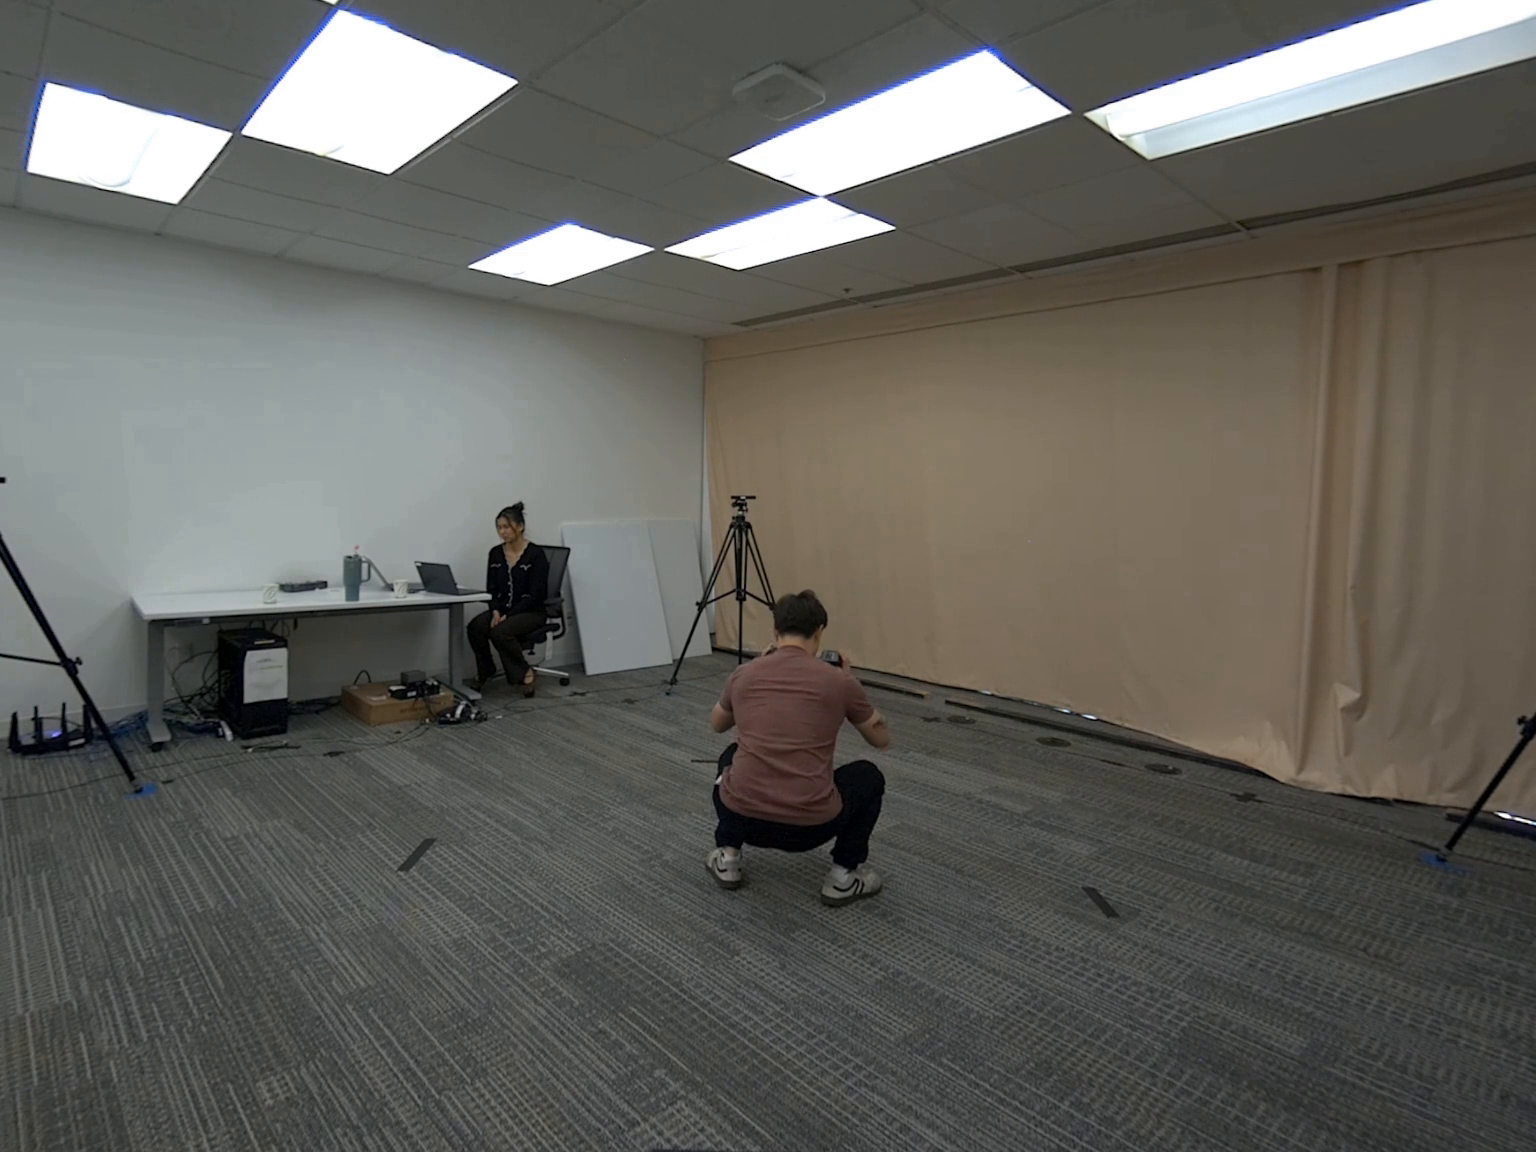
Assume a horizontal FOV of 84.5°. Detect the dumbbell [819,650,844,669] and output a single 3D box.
[{"bbox_3d":[0.150,0.328,3.238,0.297,0.106,0.124,0,37,16],"label":"dumbbell"}]
